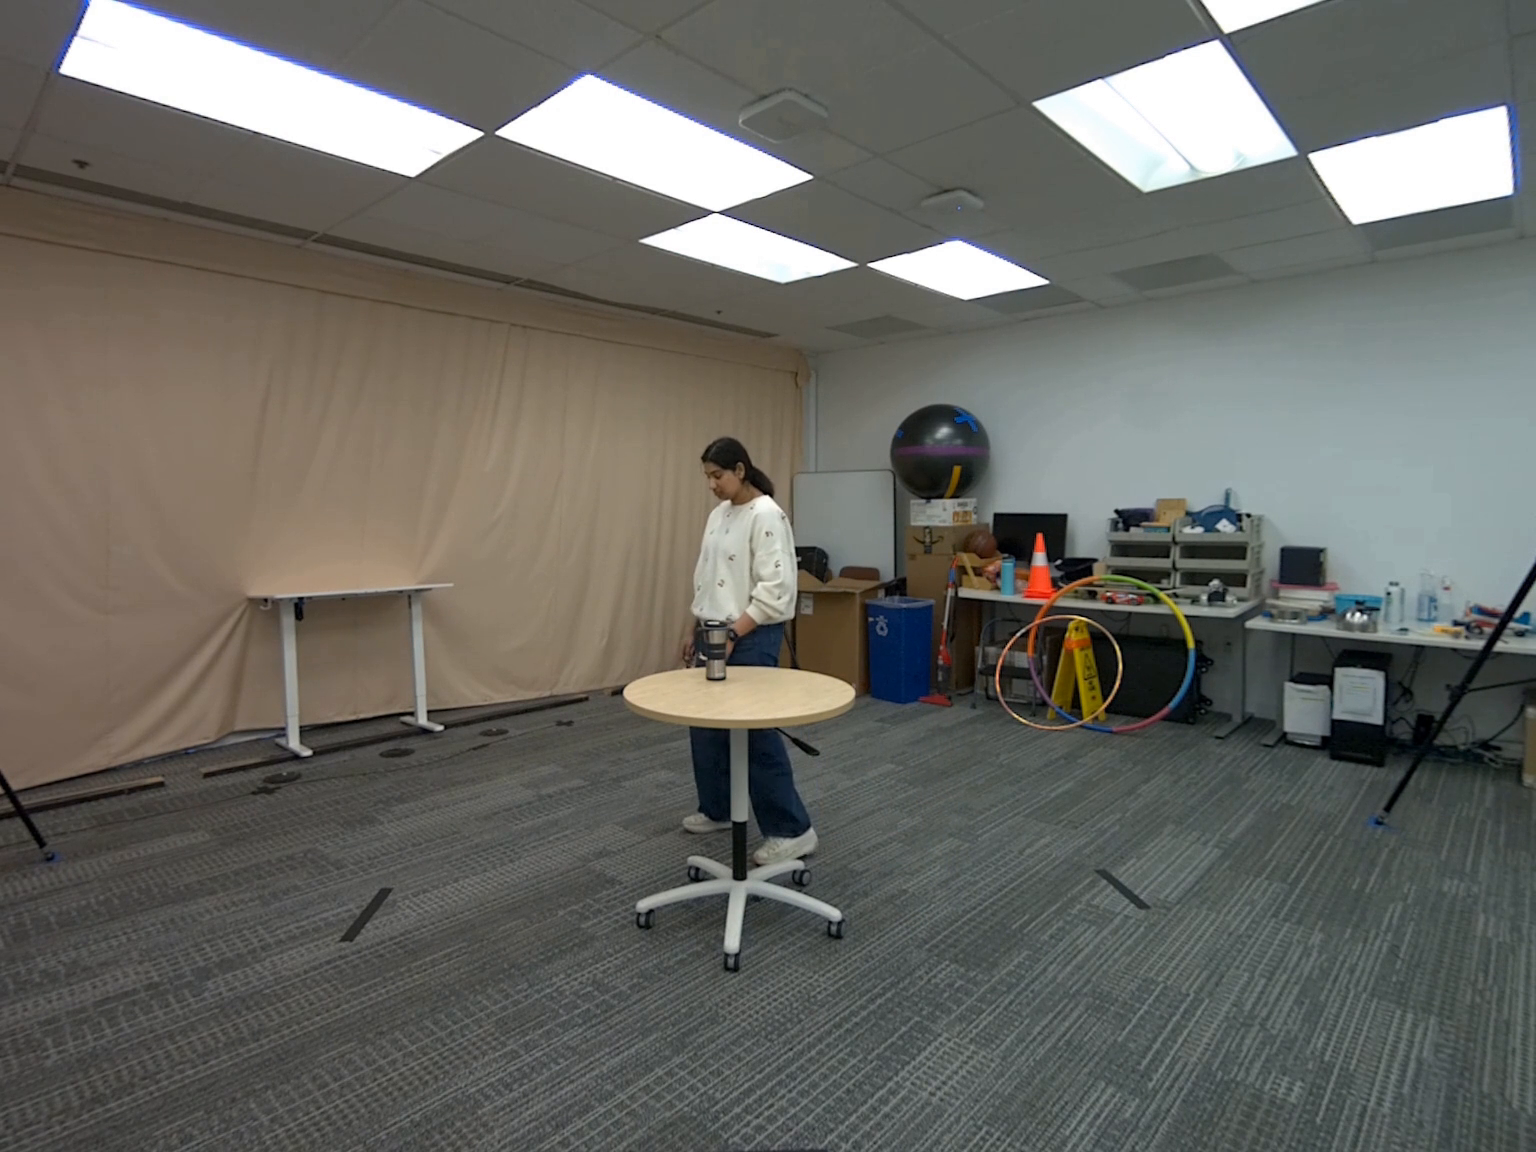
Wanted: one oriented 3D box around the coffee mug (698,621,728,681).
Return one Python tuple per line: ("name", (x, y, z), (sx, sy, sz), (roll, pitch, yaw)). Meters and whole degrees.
("coffee mug", (-0.161, 0.262, 2.950), (0.121, 0.203, 0.088), (-2, 0, -5))
